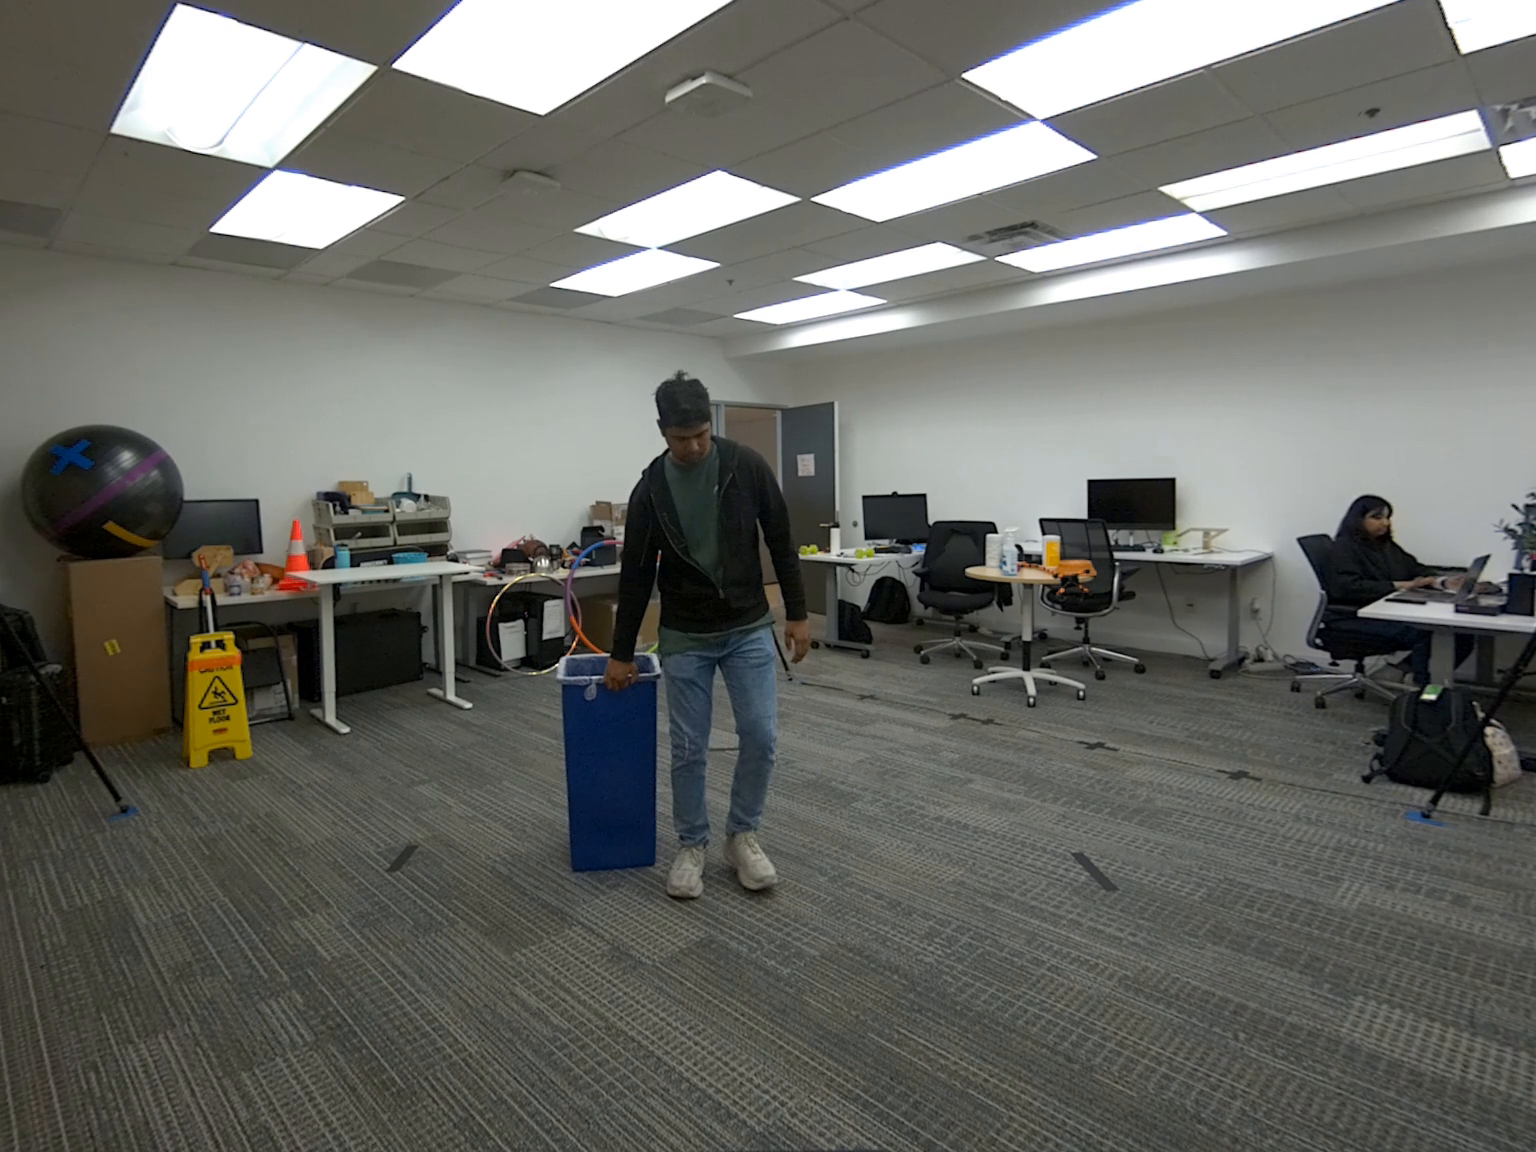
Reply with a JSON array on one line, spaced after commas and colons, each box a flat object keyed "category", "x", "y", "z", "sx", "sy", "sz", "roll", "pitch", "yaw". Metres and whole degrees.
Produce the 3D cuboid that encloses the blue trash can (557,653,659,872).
[{"category": "blue trash can", "x": -0.582, "y": 0.681, "z": 3.203, "sx": 0.370, "sy": 0.711, "sz": 0.383, "roll": -2, "pitch": 5, "yaw": -11}]
